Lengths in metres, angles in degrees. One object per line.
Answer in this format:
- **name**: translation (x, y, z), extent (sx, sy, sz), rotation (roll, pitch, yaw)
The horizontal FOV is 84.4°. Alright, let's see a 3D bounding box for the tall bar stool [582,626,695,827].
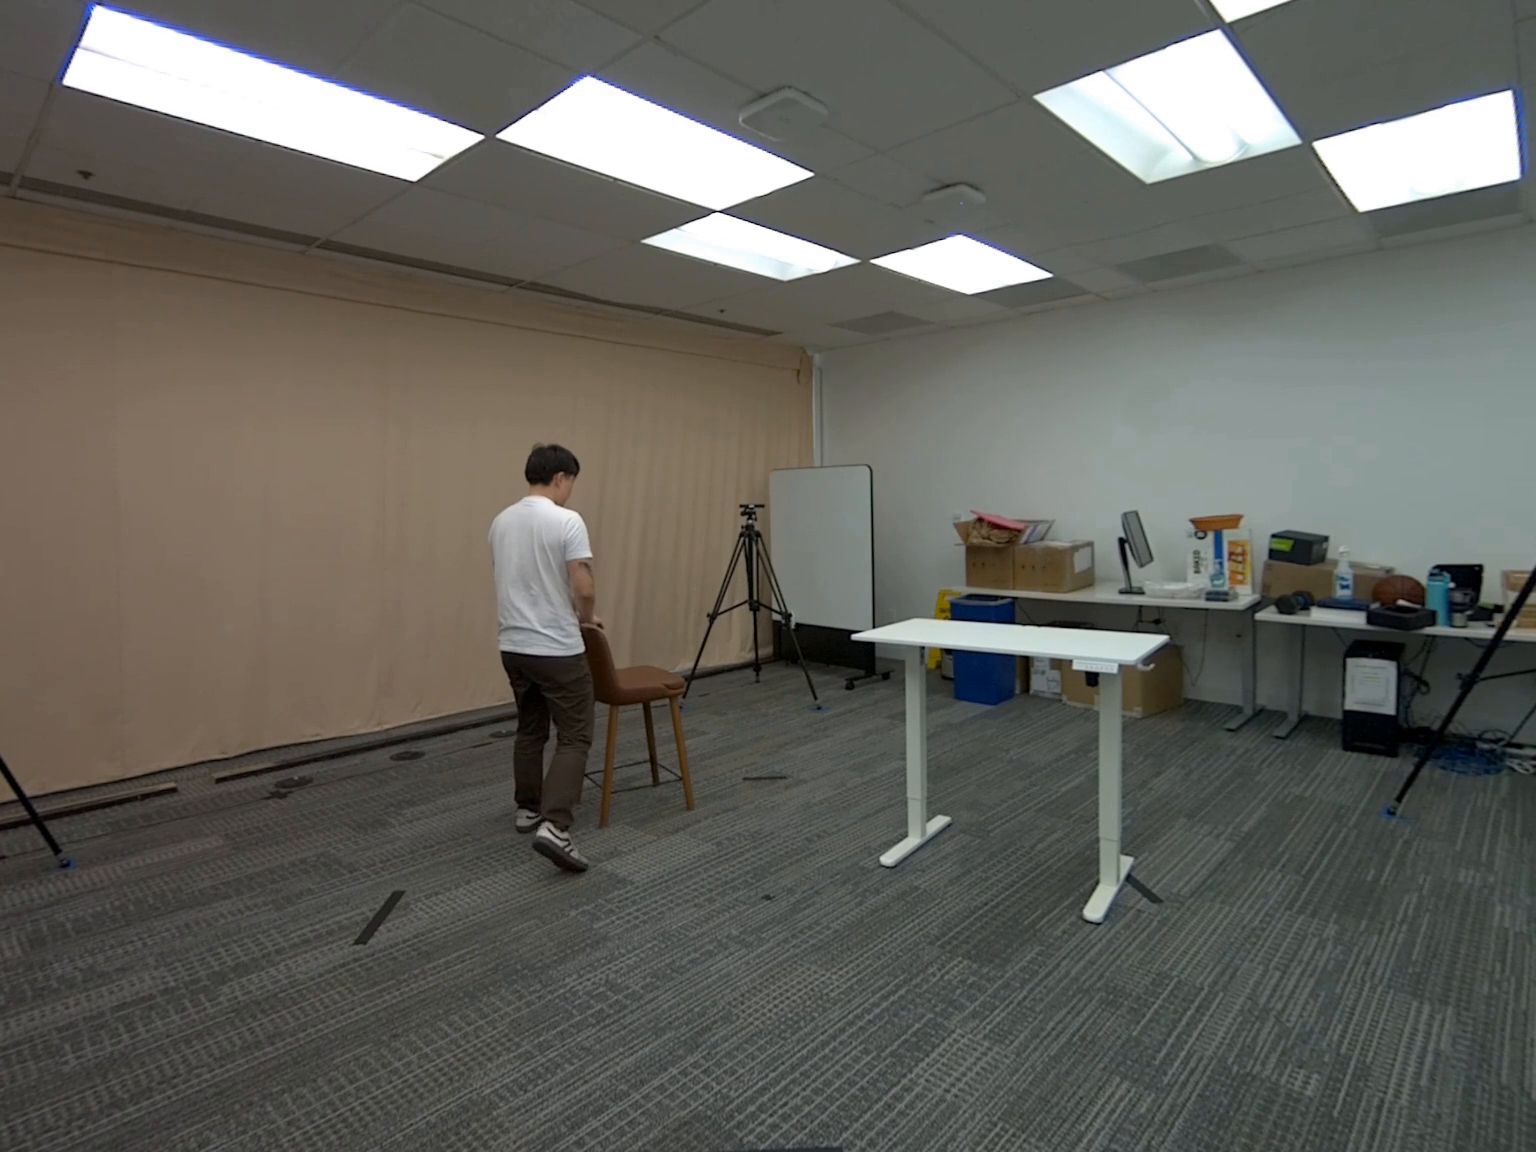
- **tall bar stool**: translation (-0.650, 0.637, 3.907), extent (0.455, 0.887, 0.470), rotation (-6, 5, -31)
